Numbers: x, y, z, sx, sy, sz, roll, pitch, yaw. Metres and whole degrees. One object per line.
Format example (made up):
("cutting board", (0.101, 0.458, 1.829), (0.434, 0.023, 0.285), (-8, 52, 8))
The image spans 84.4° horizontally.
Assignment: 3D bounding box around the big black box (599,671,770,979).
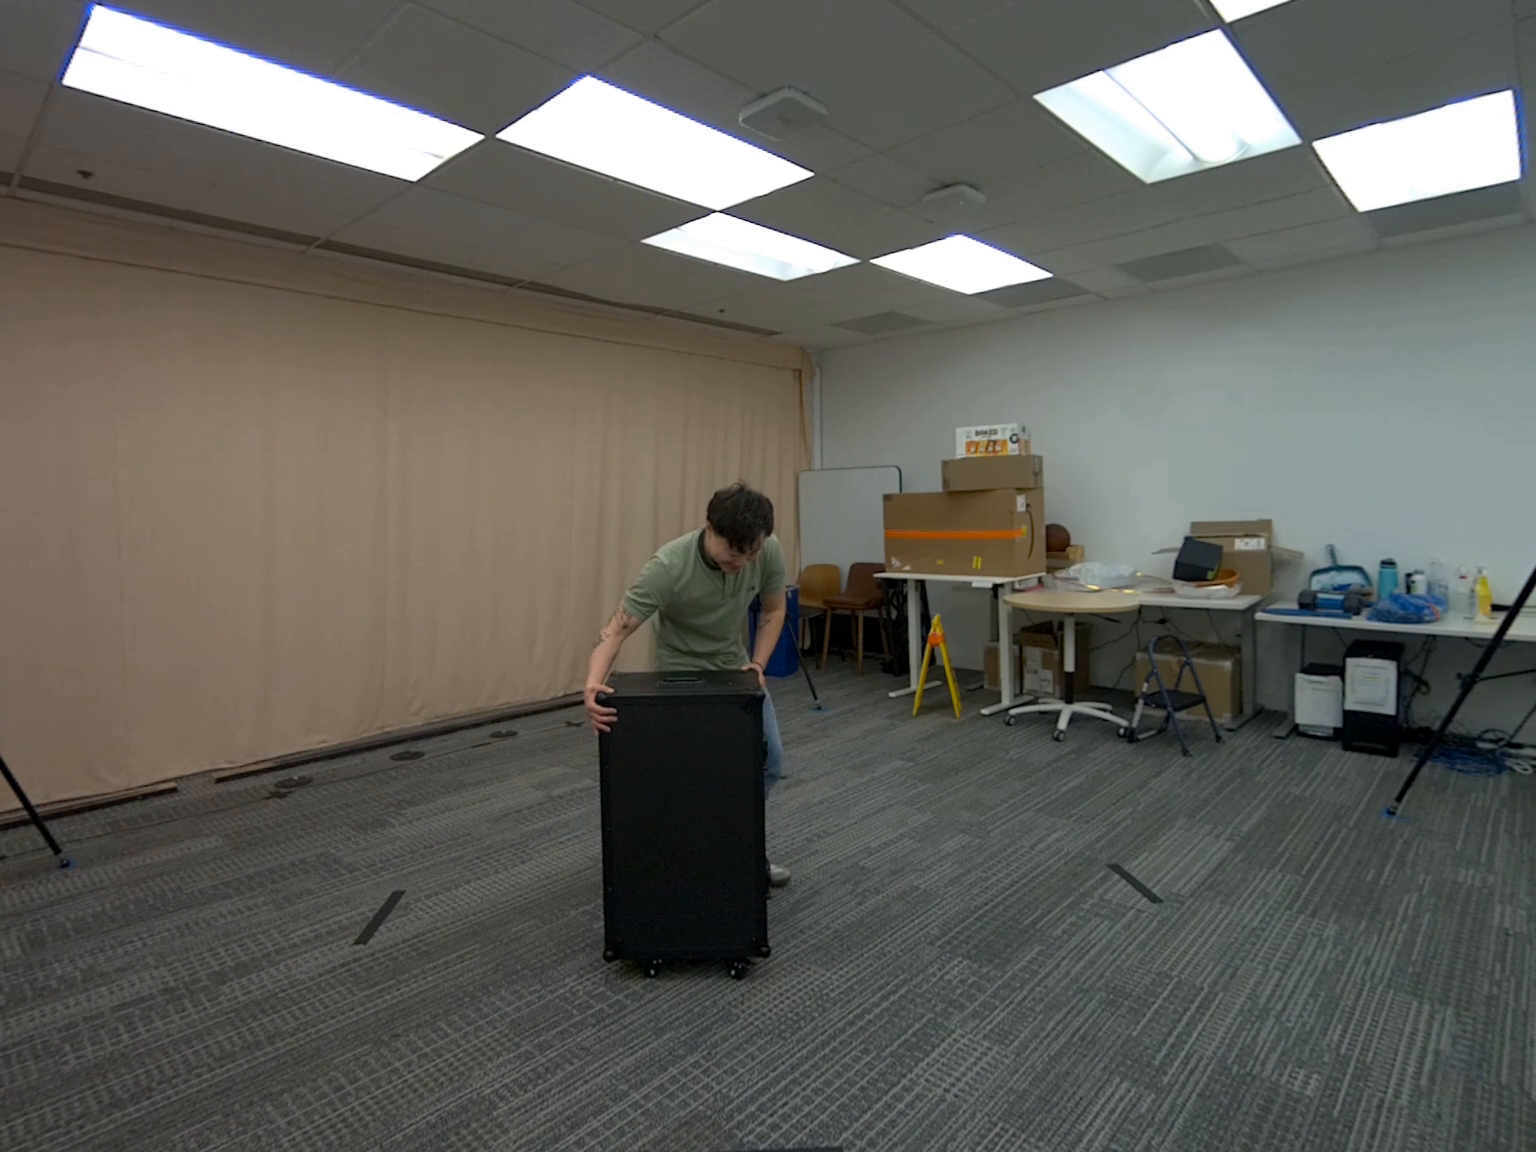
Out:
("big black box", (-0.263, 0.750, 2.623), (0.522, 0.860, 0.397), (-1, 2, 0))
